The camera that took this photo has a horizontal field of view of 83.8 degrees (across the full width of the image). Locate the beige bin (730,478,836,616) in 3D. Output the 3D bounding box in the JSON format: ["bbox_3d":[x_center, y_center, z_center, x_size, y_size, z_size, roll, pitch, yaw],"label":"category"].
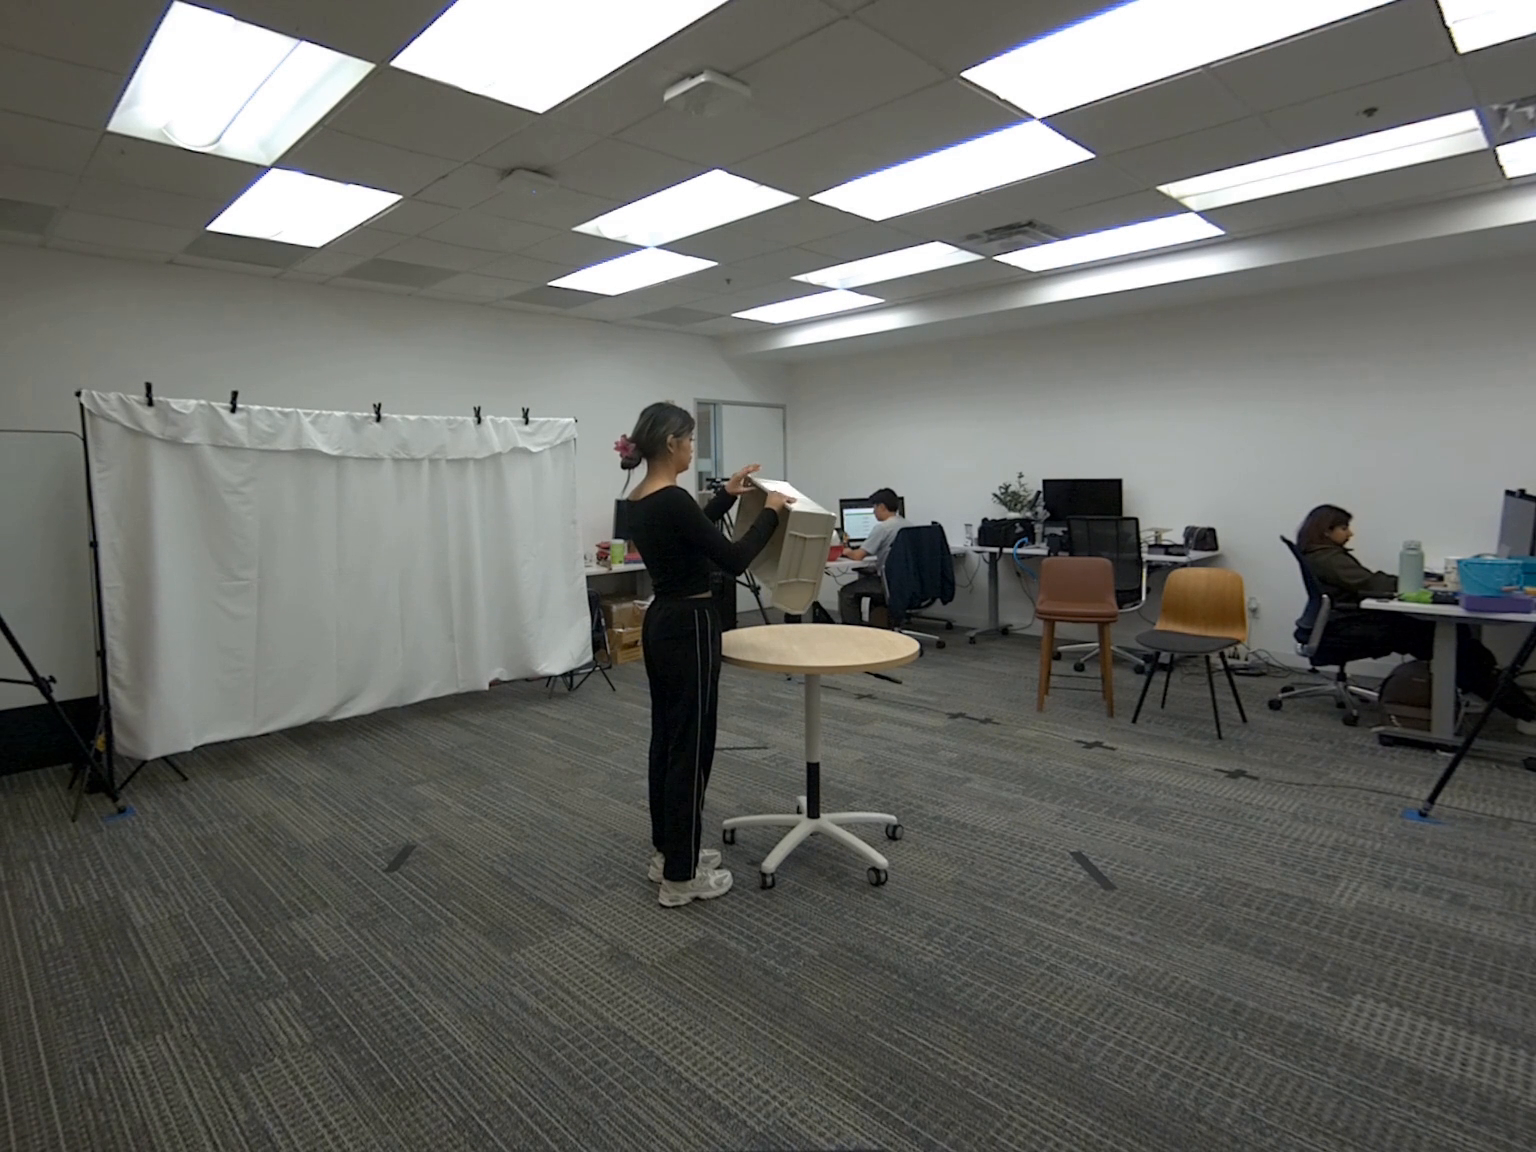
[{"bbox_3d":[0.029,-0.120,3.067,0.185,0.373,0.437,5,18,-25],"label":"beige bin"}]
